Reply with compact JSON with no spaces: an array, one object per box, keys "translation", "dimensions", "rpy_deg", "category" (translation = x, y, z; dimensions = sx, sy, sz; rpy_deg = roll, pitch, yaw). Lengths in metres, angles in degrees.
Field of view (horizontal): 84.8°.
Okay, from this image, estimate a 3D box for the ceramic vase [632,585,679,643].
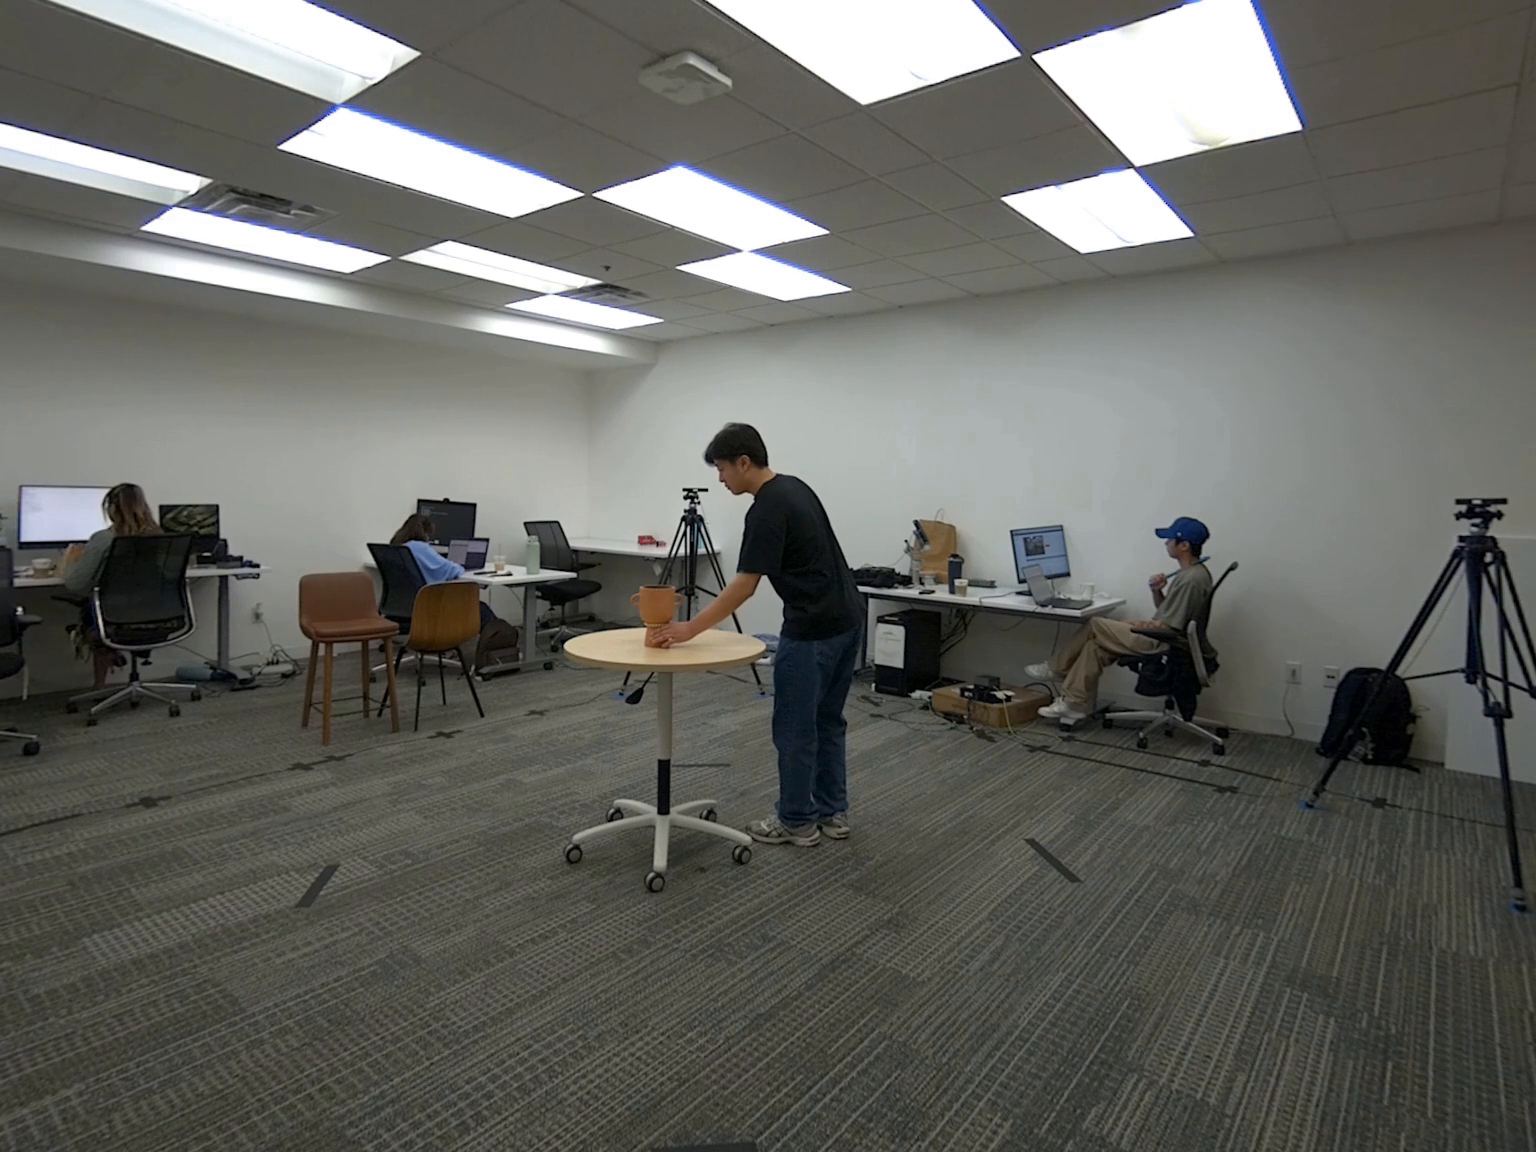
[{"translation":[-0.431,0.148,3.214],"dimensions":[0.163,0.219,0.131],"rpy_deg":[3,5,29],"category":"ceramic vase"}]
